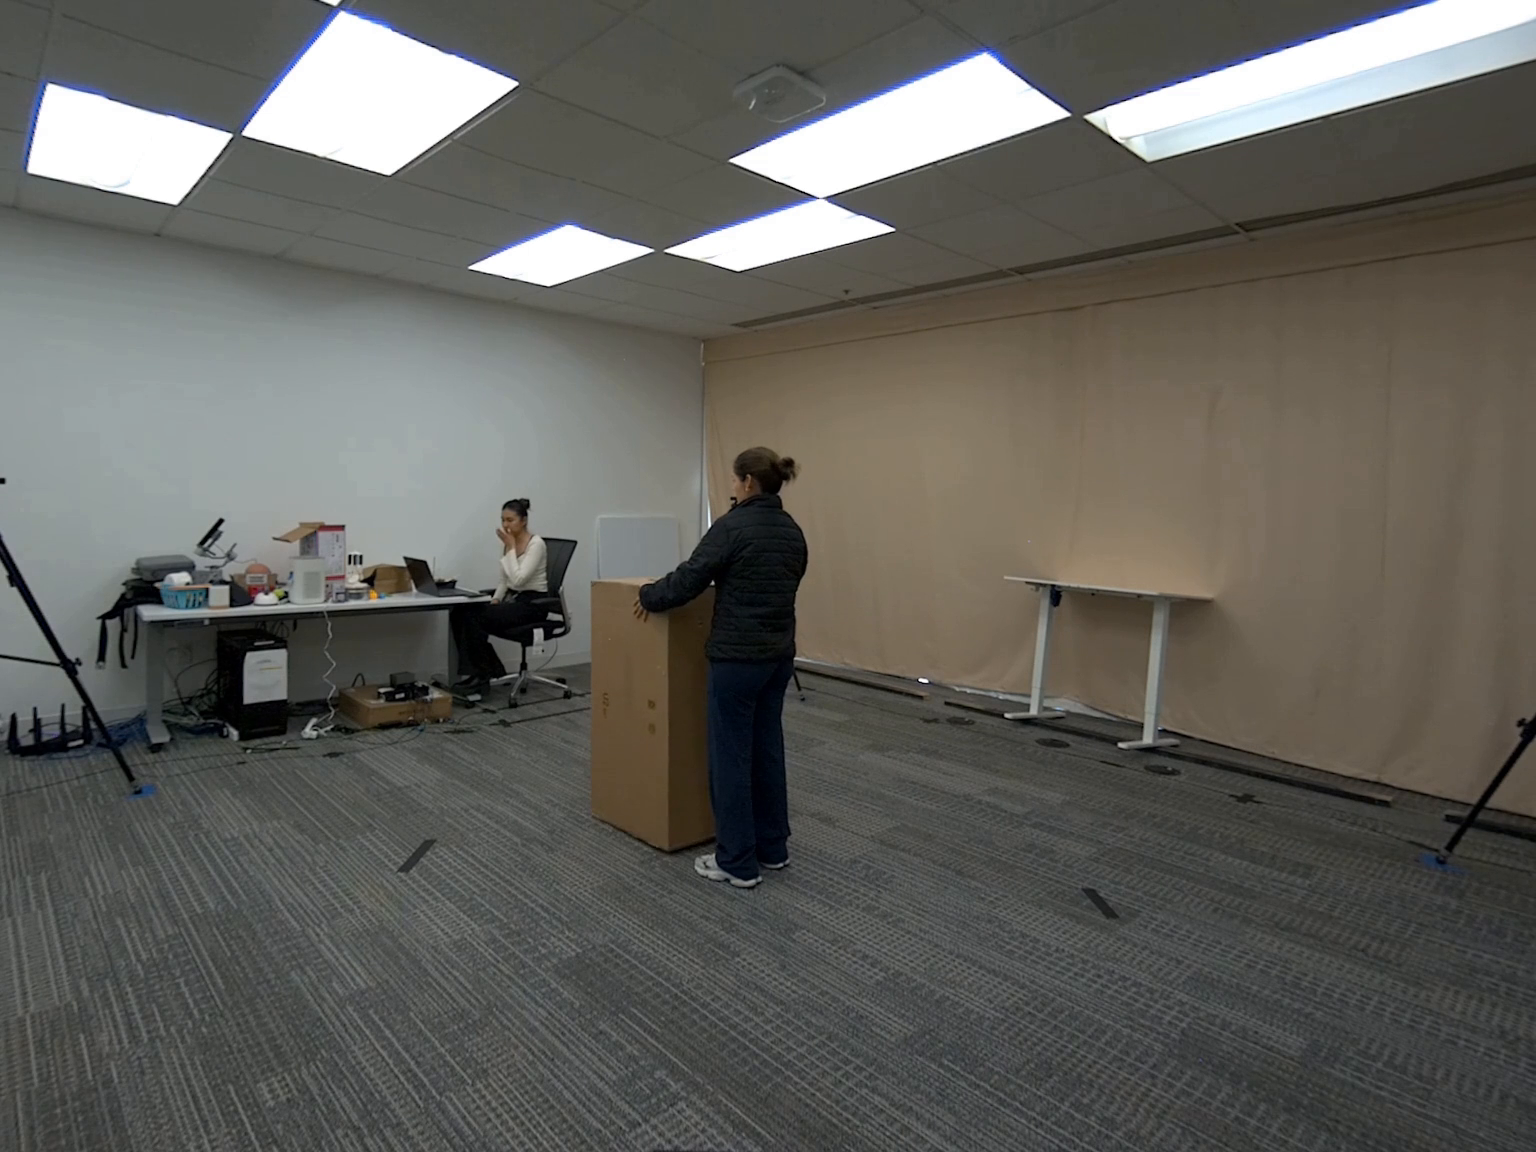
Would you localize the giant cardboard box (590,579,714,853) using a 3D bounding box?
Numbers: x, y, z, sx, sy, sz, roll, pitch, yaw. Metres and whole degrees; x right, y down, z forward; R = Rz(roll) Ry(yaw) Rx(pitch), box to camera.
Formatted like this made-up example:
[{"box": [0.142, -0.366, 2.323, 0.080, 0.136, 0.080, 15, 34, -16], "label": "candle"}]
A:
[{"box": [-0.434, 0.523, 3.583, 0.416, 1.025, 0.591, -1, 1, -42], "label": "giant cardboard box"}]
